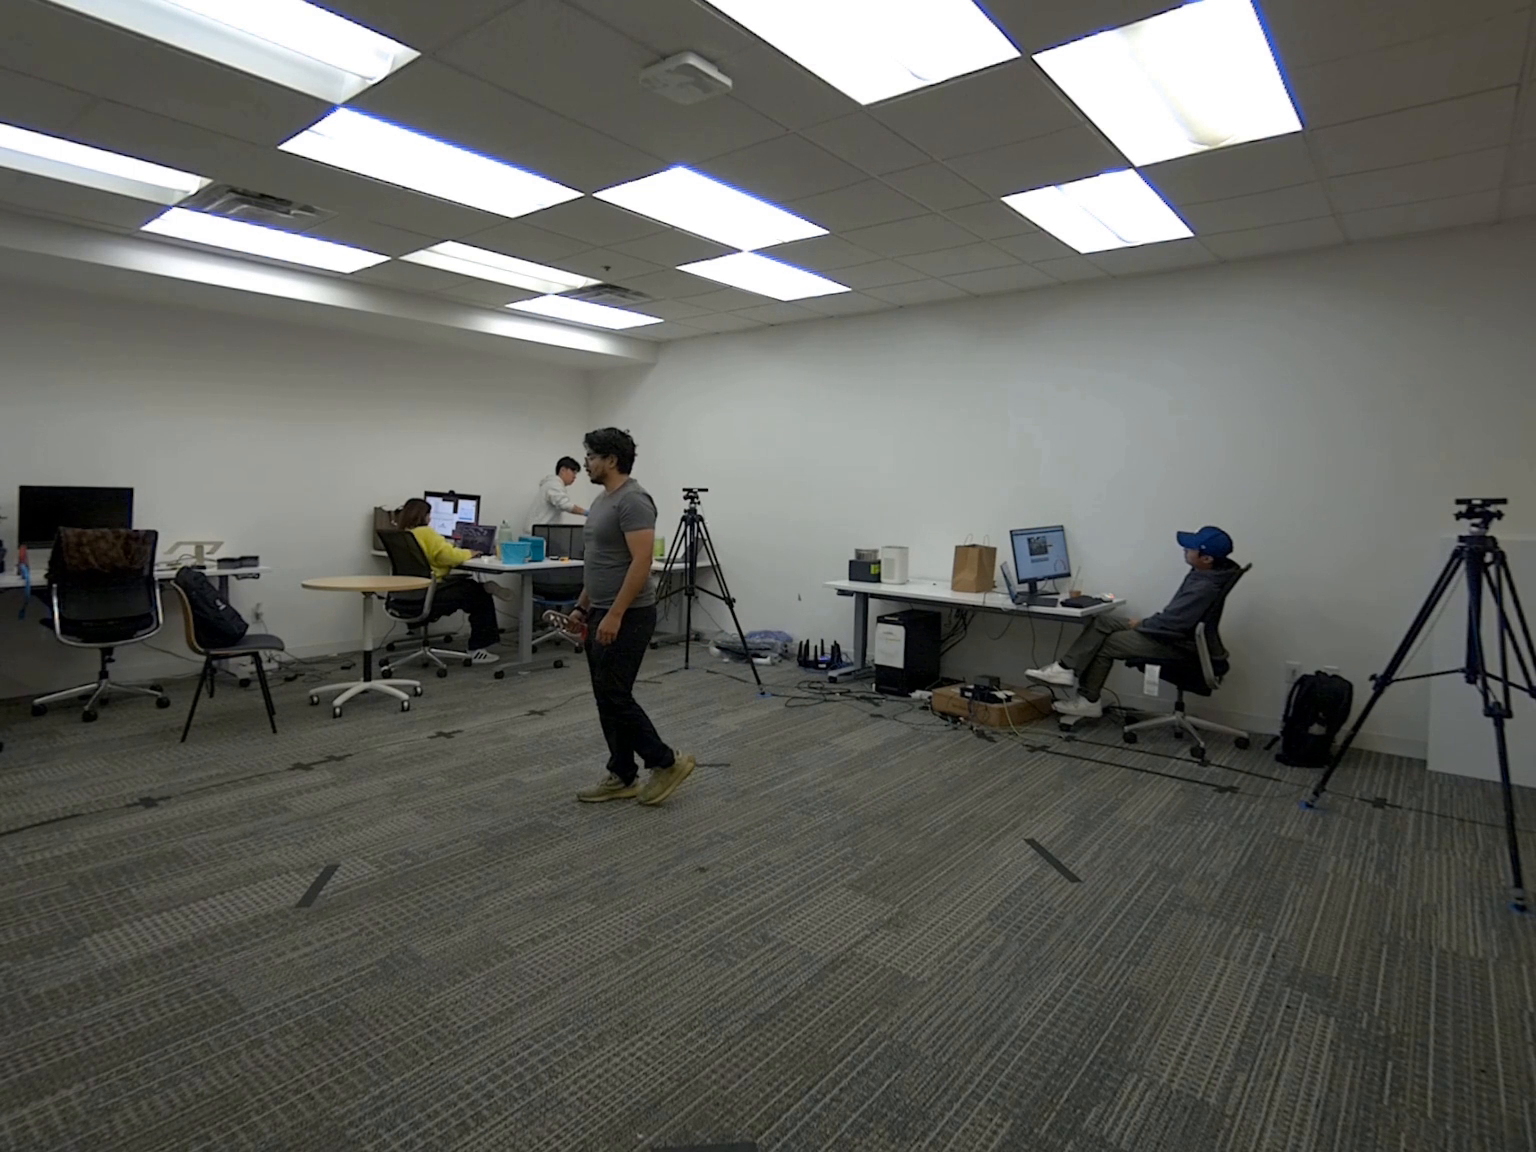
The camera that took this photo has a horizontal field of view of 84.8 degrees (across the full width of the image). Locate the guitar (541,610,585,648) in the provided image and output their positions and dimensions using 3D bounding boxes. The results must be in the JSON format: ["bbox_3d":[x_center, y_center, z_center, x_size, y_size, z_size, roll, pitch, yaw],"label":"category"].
[{"bbox_3d":[-0.858,0.287,3.964,0.479,0.192,0.074,14,26,-40],"label":"guitar"}]
